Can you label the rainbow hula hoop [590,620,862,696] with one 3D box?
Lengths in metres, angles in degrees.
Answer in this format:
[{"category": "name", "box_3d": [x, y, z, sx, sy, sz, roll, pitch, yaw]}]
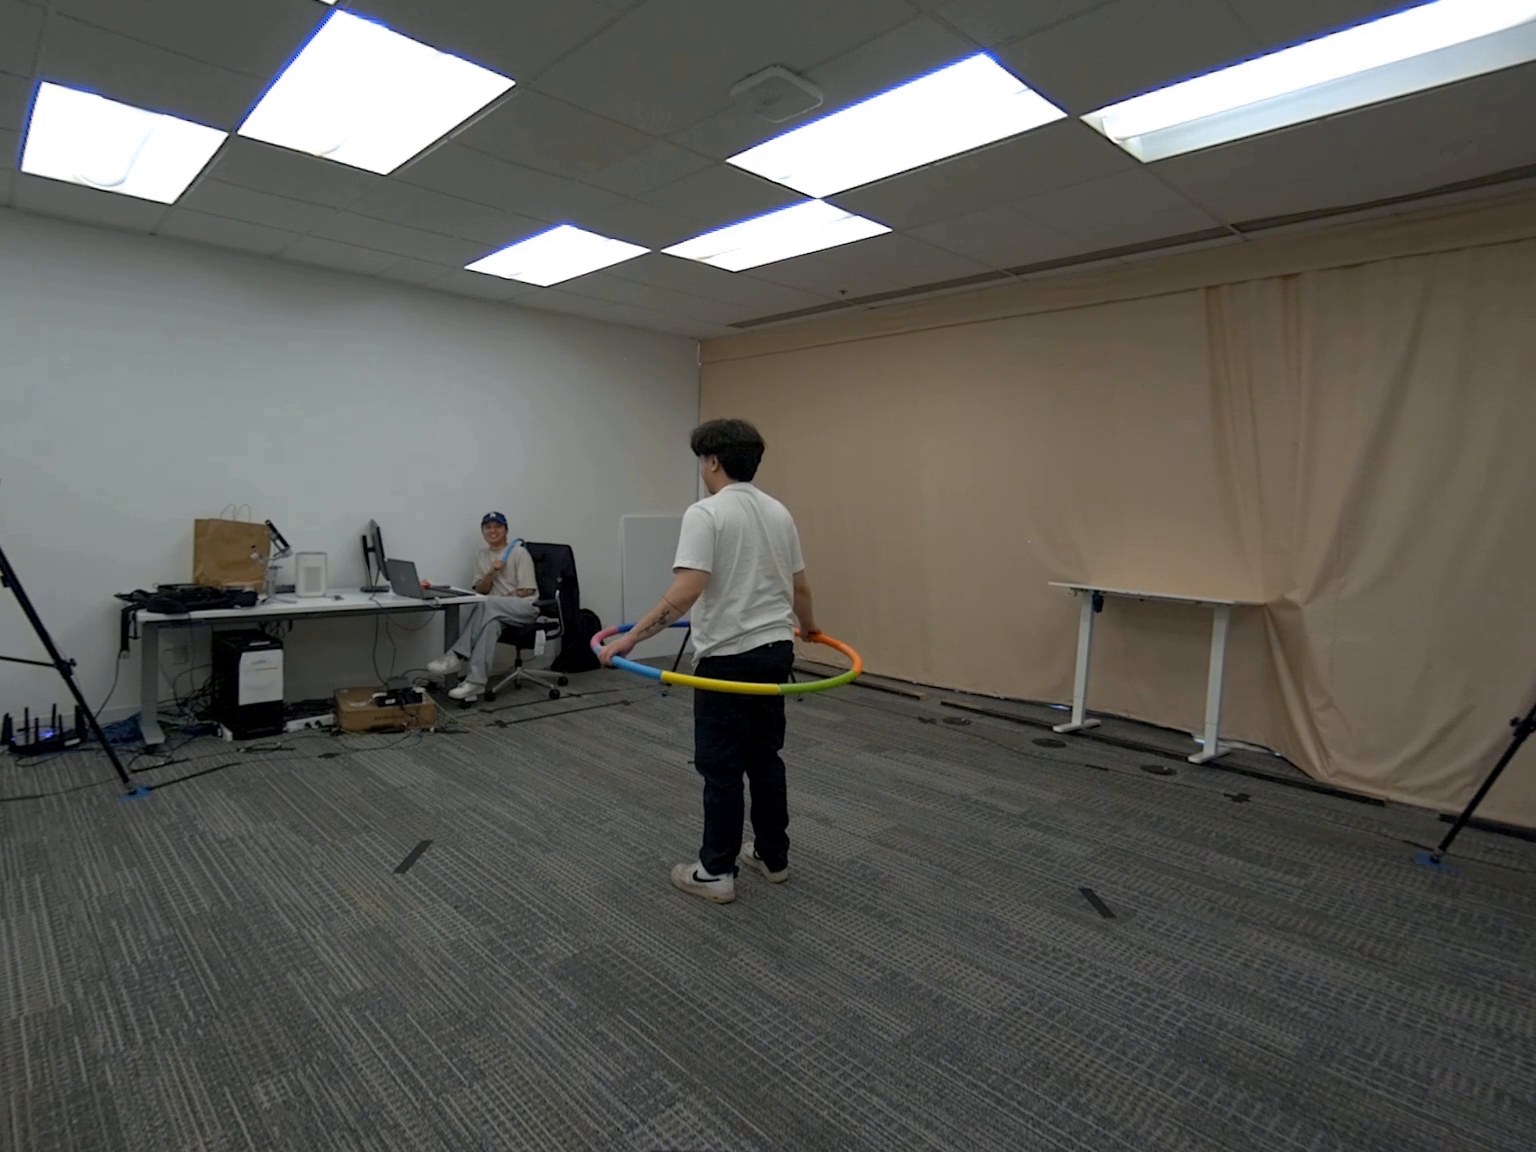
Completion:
[{"category": "rainbow hula hoop", "box_3d": [-0.162, 0.263, 3.067, 0.984, 0.051, 0.991, 4, 8, -2]}]
